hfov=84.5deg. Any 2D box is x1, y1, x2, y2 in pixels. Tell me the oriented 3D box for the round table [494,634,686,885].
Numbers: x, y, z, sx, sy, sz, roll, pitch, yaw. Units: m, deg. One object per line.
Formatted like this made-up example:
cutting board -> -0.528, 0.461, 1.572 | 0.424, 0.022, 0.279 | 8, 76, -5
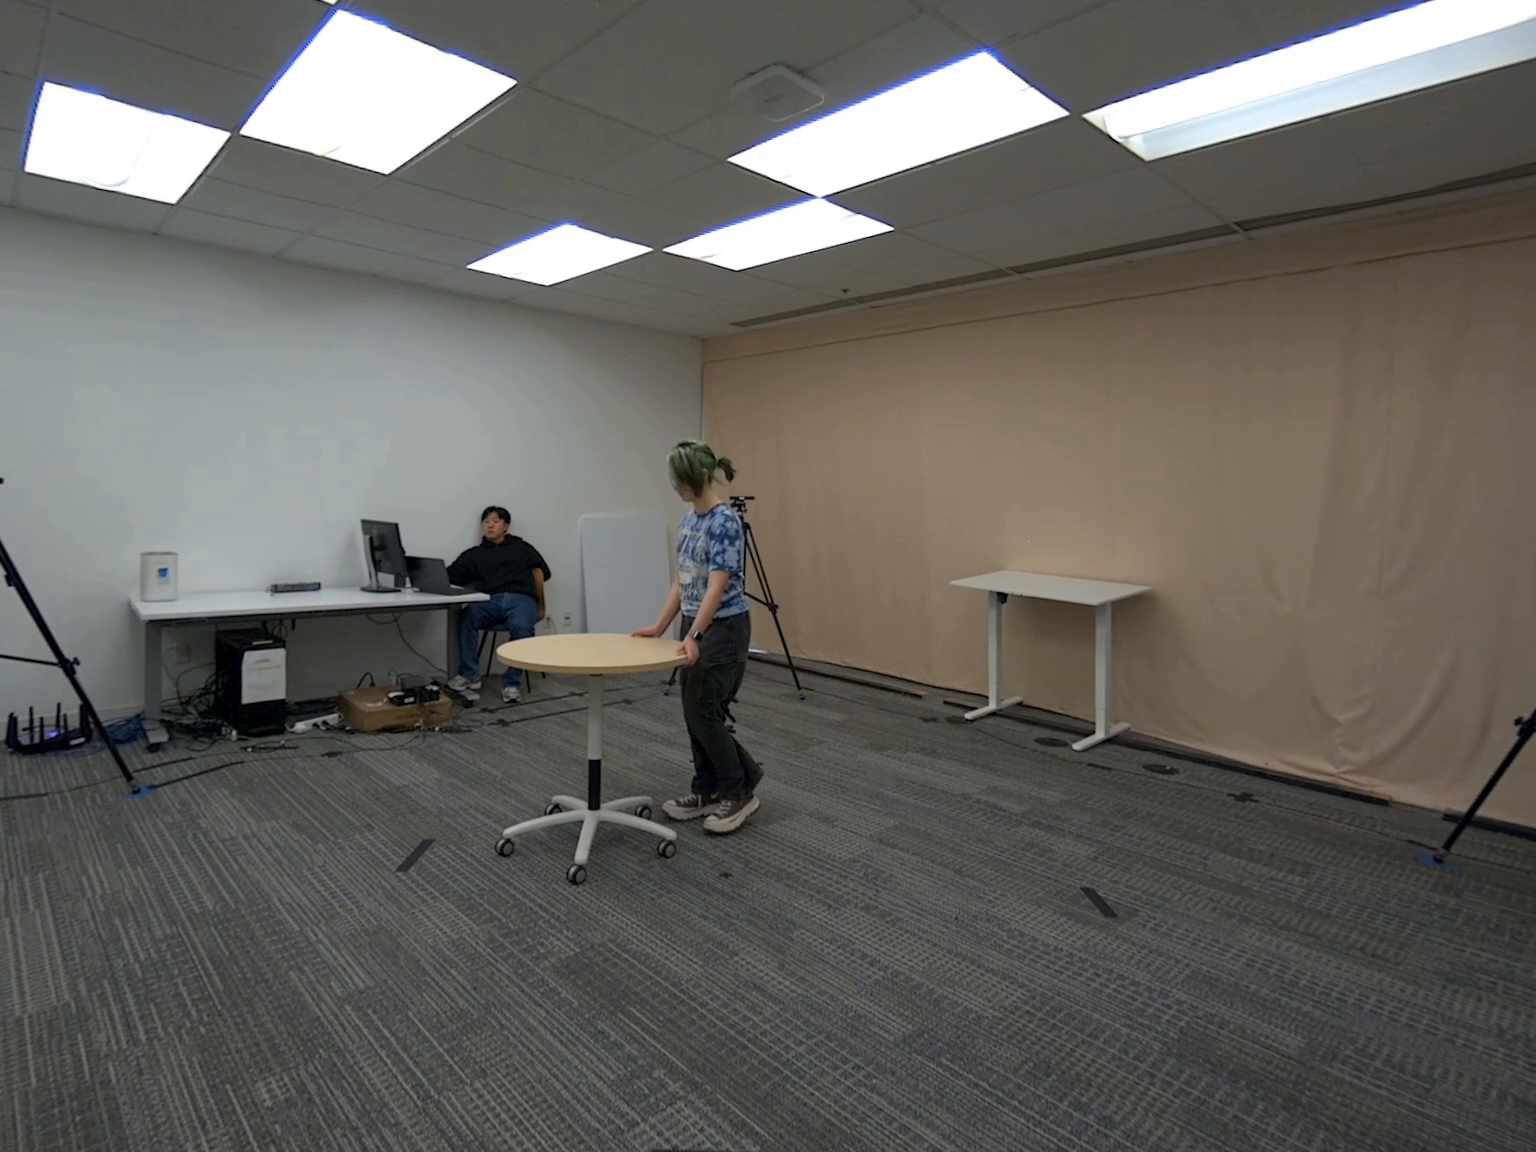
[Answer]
round table -> -0.700, 0.682, 3.342 | 0.763, 0.792, 0.766 | 1, 4, -1
